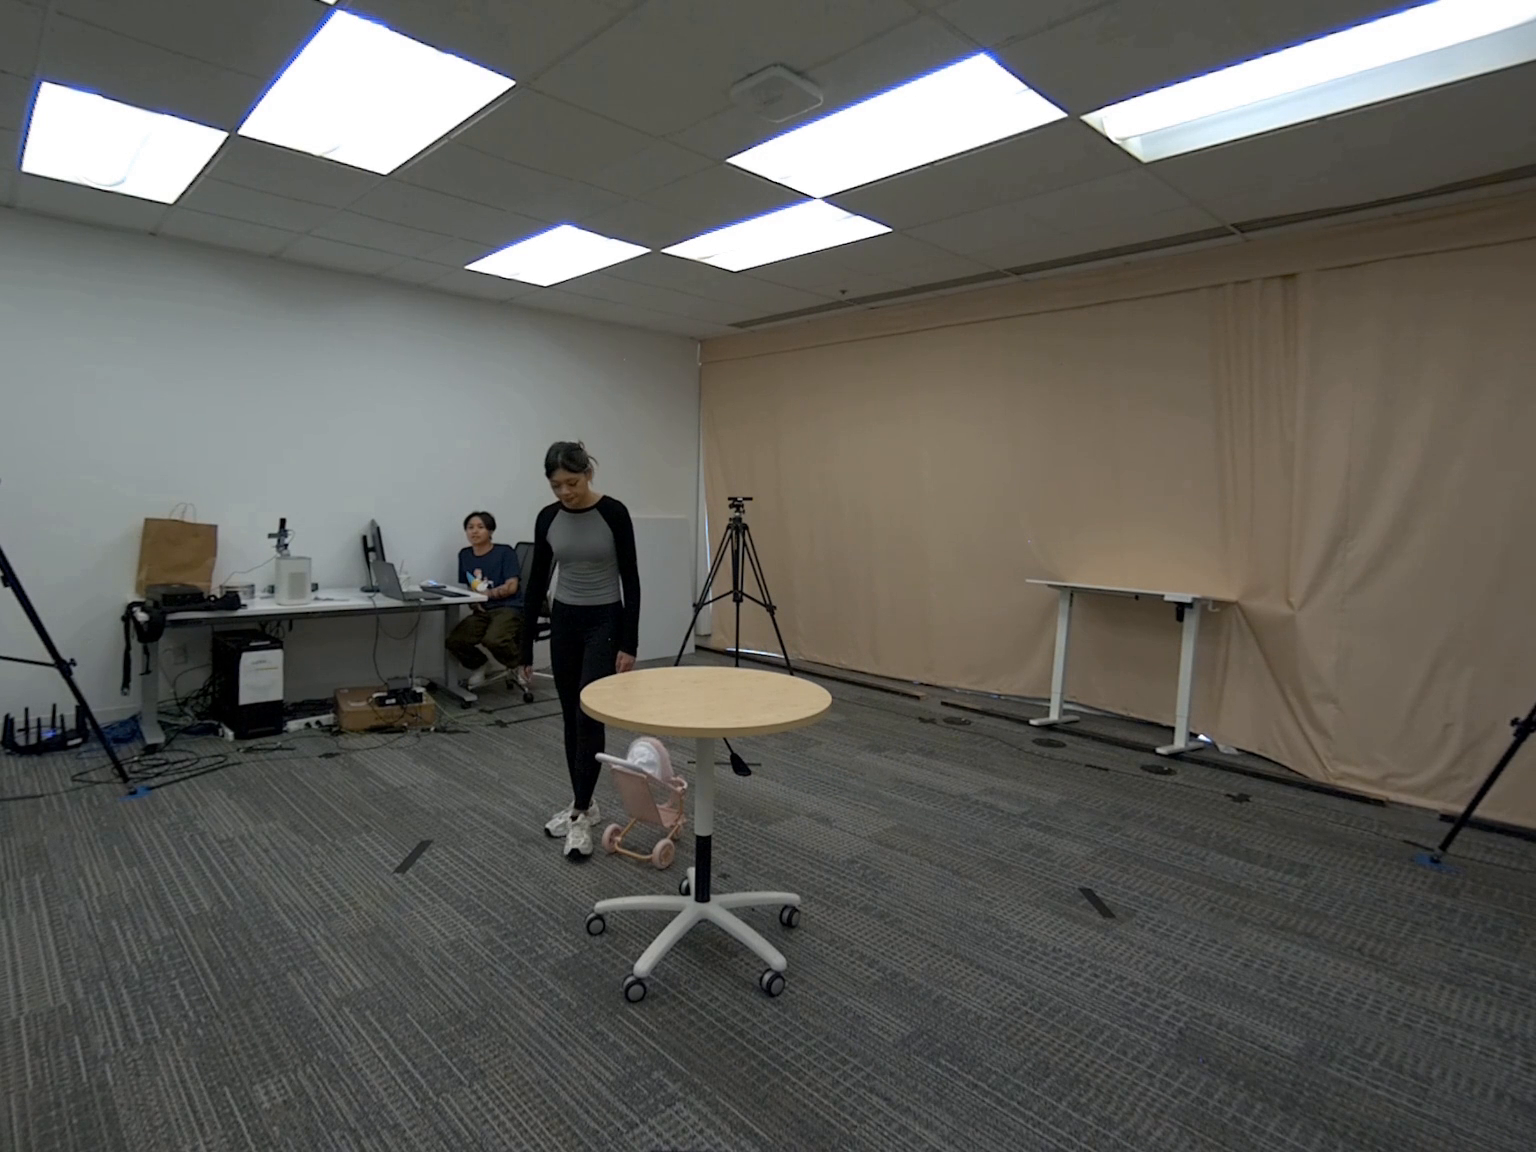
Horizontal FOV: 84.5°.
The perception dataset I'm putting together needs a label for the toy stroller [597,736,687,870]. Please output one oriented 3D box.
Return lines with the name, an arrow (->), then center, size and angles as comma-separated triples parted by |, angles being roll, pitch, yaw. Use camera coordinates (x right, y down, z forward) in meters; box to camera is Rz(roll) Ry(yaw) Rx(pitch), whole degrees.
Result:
toy stroller -> -0.464, 0.860, 3.264 | 0.288, 0.528, 0.337 | 5, 20, 35
